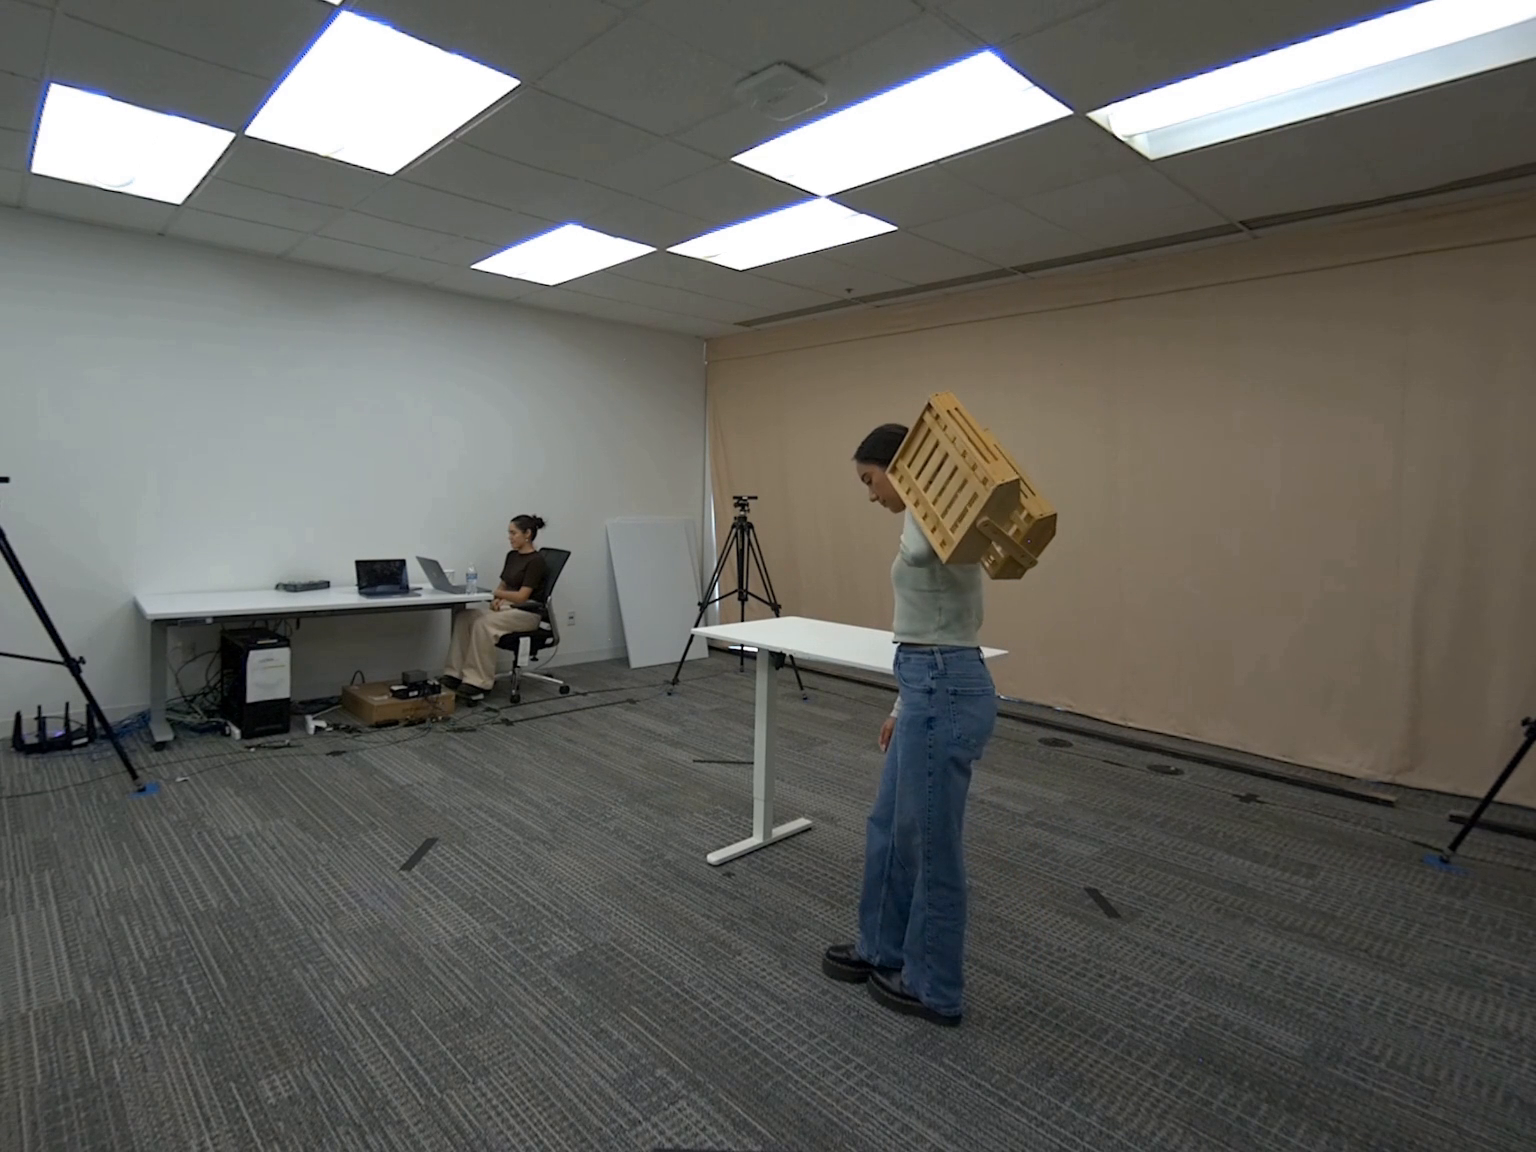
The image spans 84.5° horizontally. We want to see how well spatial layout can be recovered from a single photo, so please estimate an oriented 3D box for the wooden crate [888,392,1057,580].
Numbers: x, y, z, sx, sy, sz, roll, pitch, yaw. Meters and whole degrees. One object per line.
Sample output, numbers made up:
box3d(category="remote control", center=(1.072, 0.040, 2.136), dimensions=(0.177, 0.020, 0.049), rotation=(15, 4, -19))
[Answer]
box3d(category="wooden crate", center=(0.473, -0.204, 1.904), dimensions=(0.268, 0.299, 0.334), rotation=(2, 45, -27))
